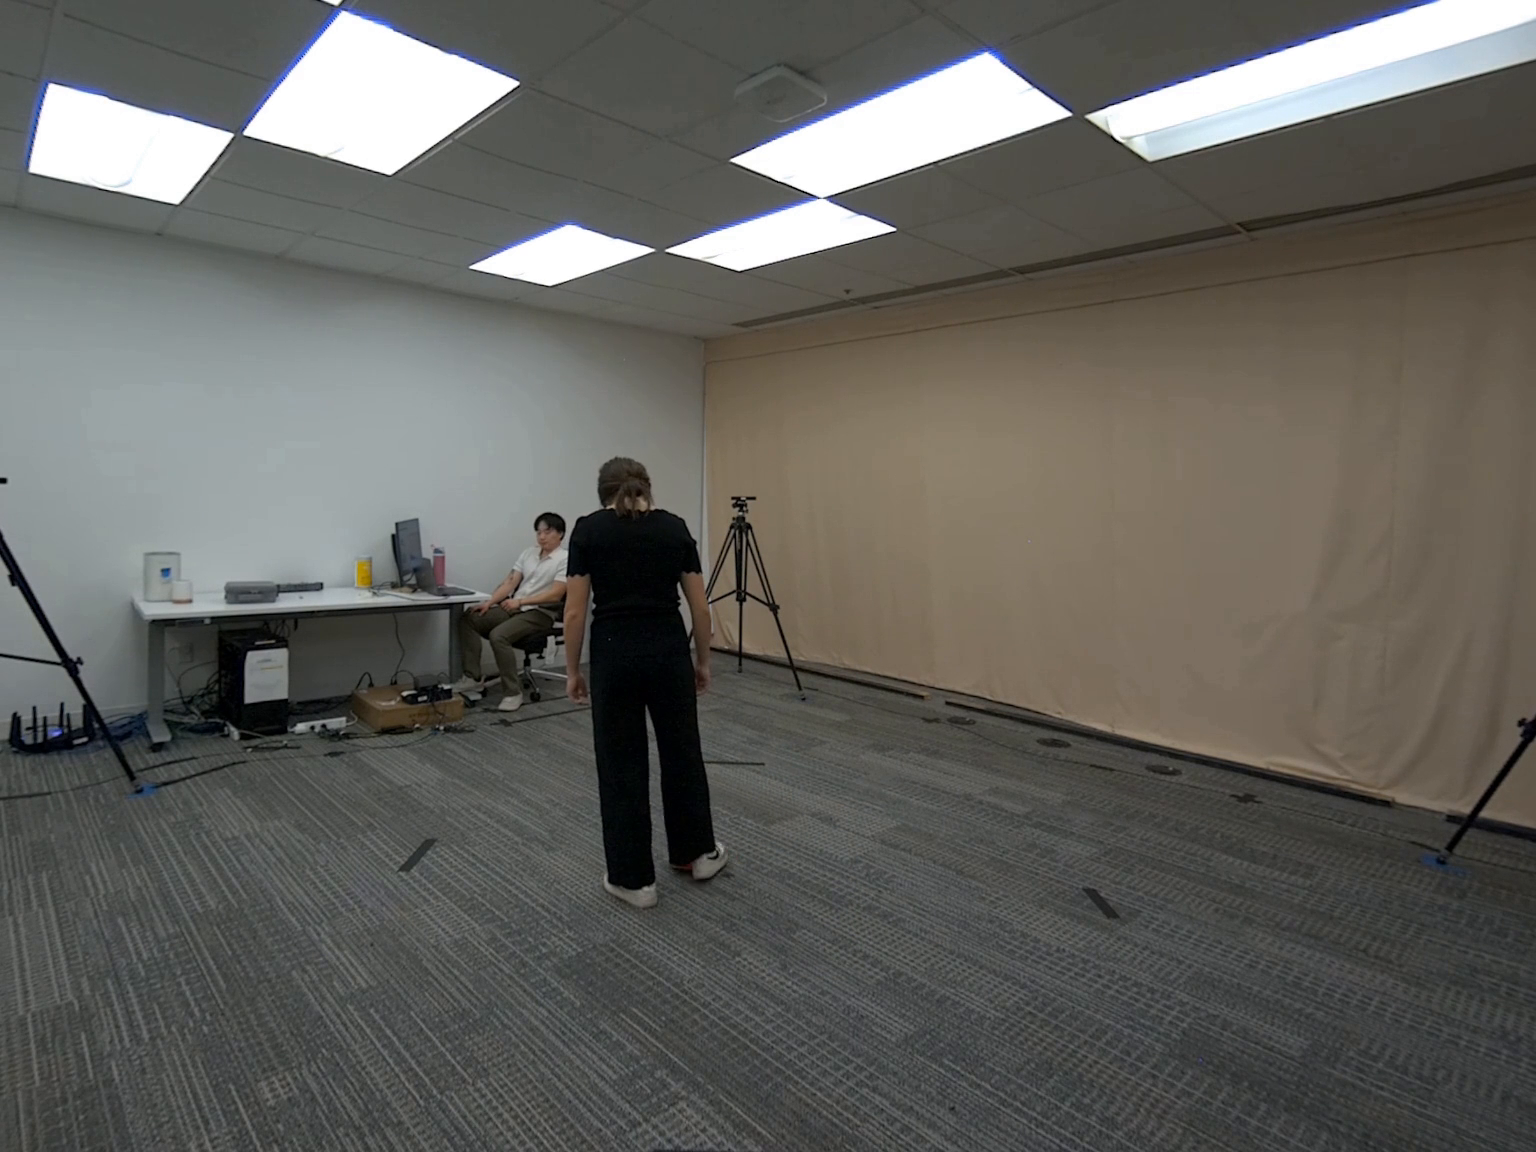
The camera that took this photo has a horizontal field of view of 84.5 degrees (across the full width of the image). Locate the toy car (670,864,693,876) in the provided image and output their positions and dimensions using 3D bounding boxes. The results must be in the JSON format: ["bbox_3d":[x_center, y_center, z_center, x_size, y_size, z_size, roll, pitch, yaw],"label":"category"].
[{"bbox_3d":[-0.311,1.063,3.203,0.131,0.084,0.251,1,-7,11],"label":"toy car"}]
